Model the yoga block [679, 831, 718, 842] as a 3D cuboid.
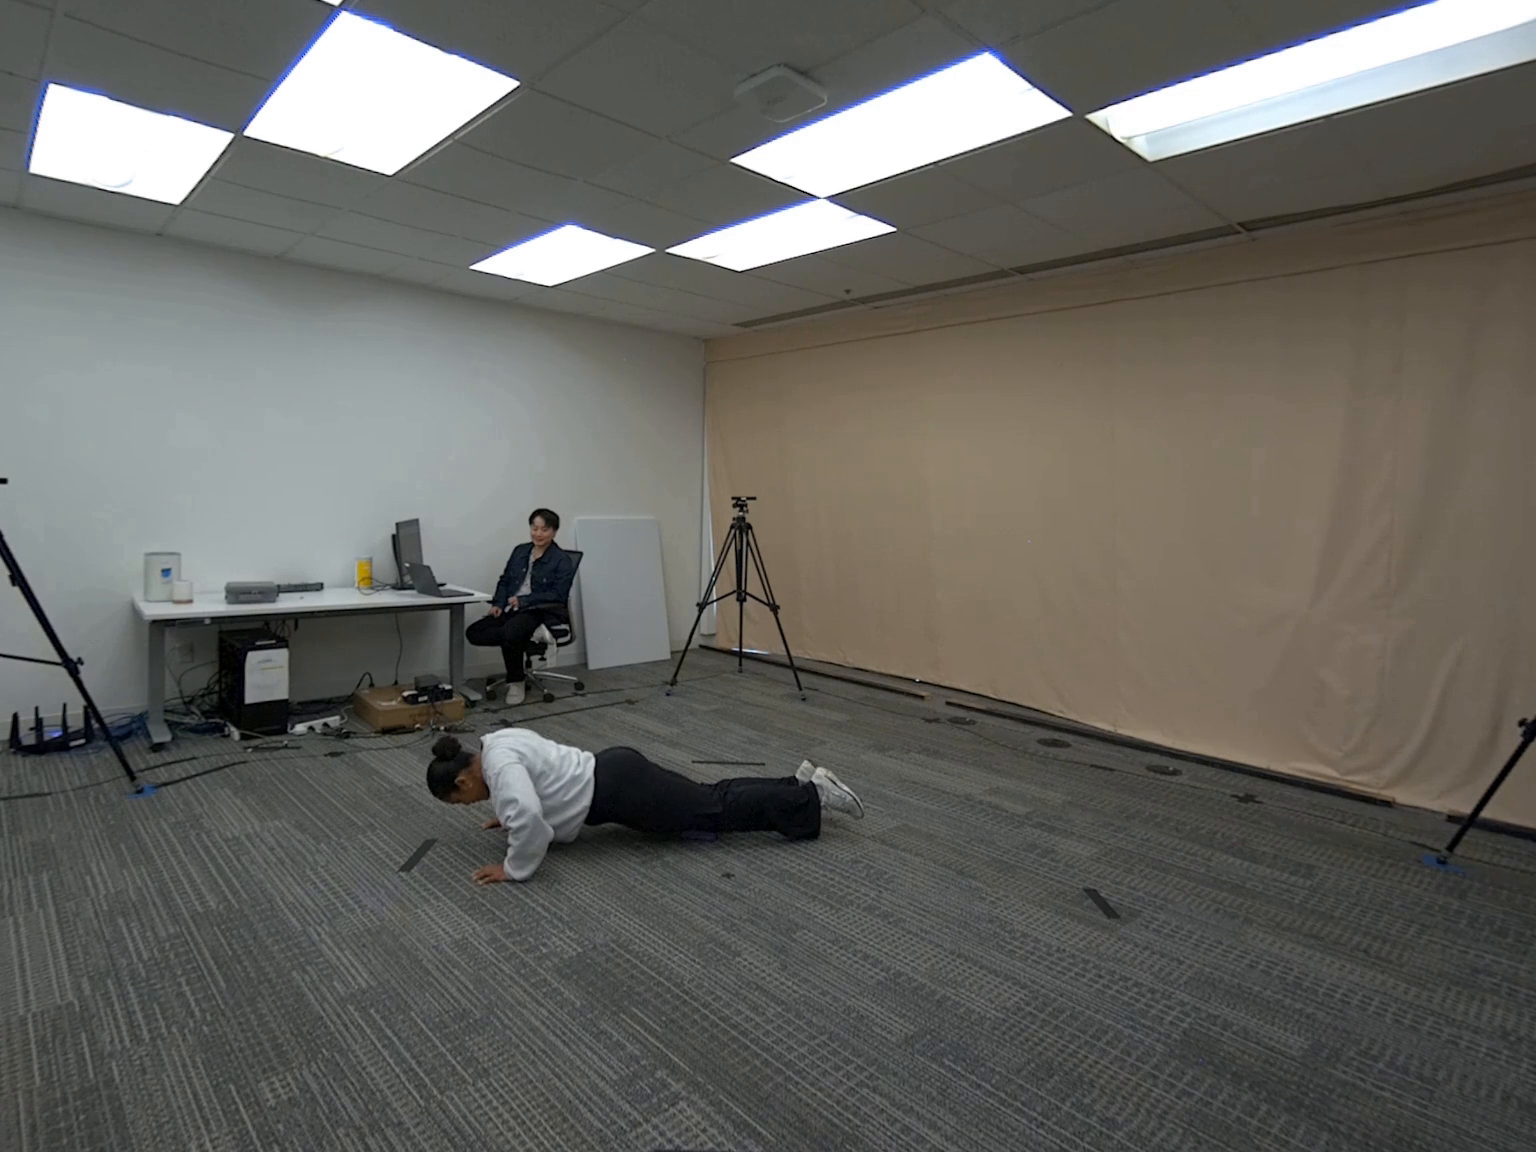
[{"bbox_3d":[-0.268,1.029,3.522,0.150,0.076,0.228,3,7,10],"label":"yoga block"}]
